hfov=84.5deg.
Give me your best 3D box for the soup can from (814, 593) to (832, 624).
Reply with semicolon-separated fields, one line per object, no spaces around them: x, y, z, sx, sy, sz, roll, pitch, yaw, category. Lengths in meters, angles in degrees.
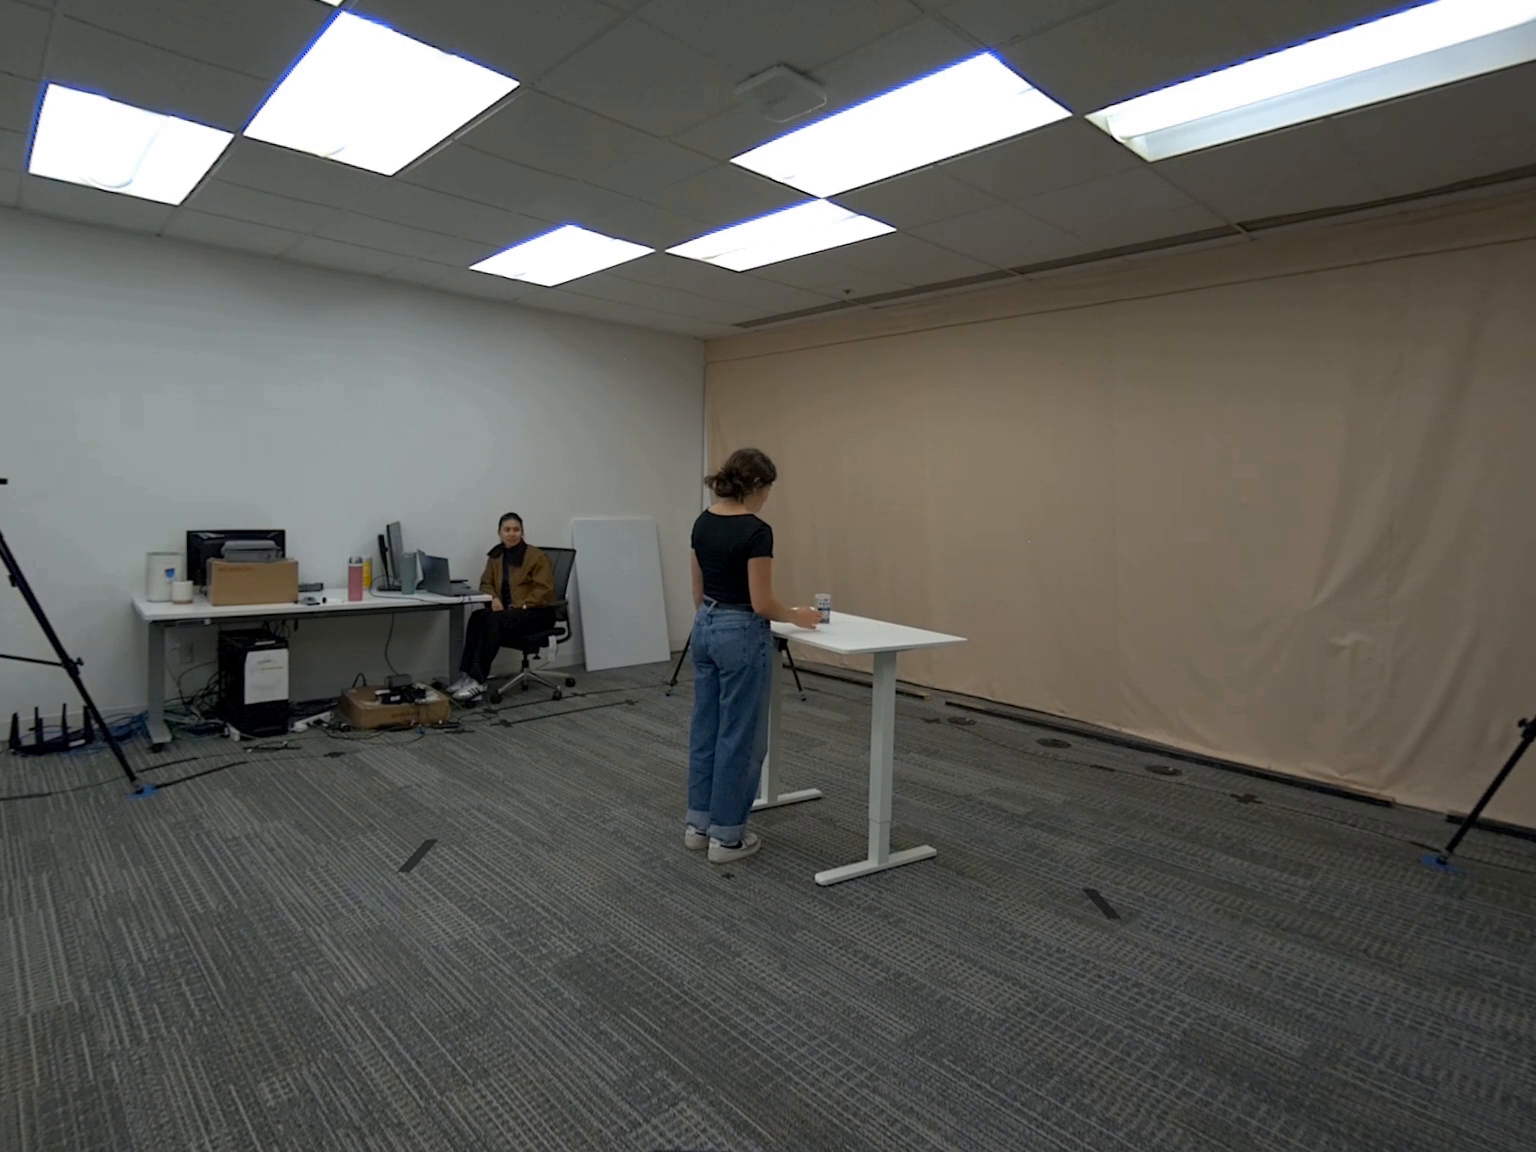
0.225;0.140;3.537;0.067;0.121;0.067;2;3;-1;soup can
